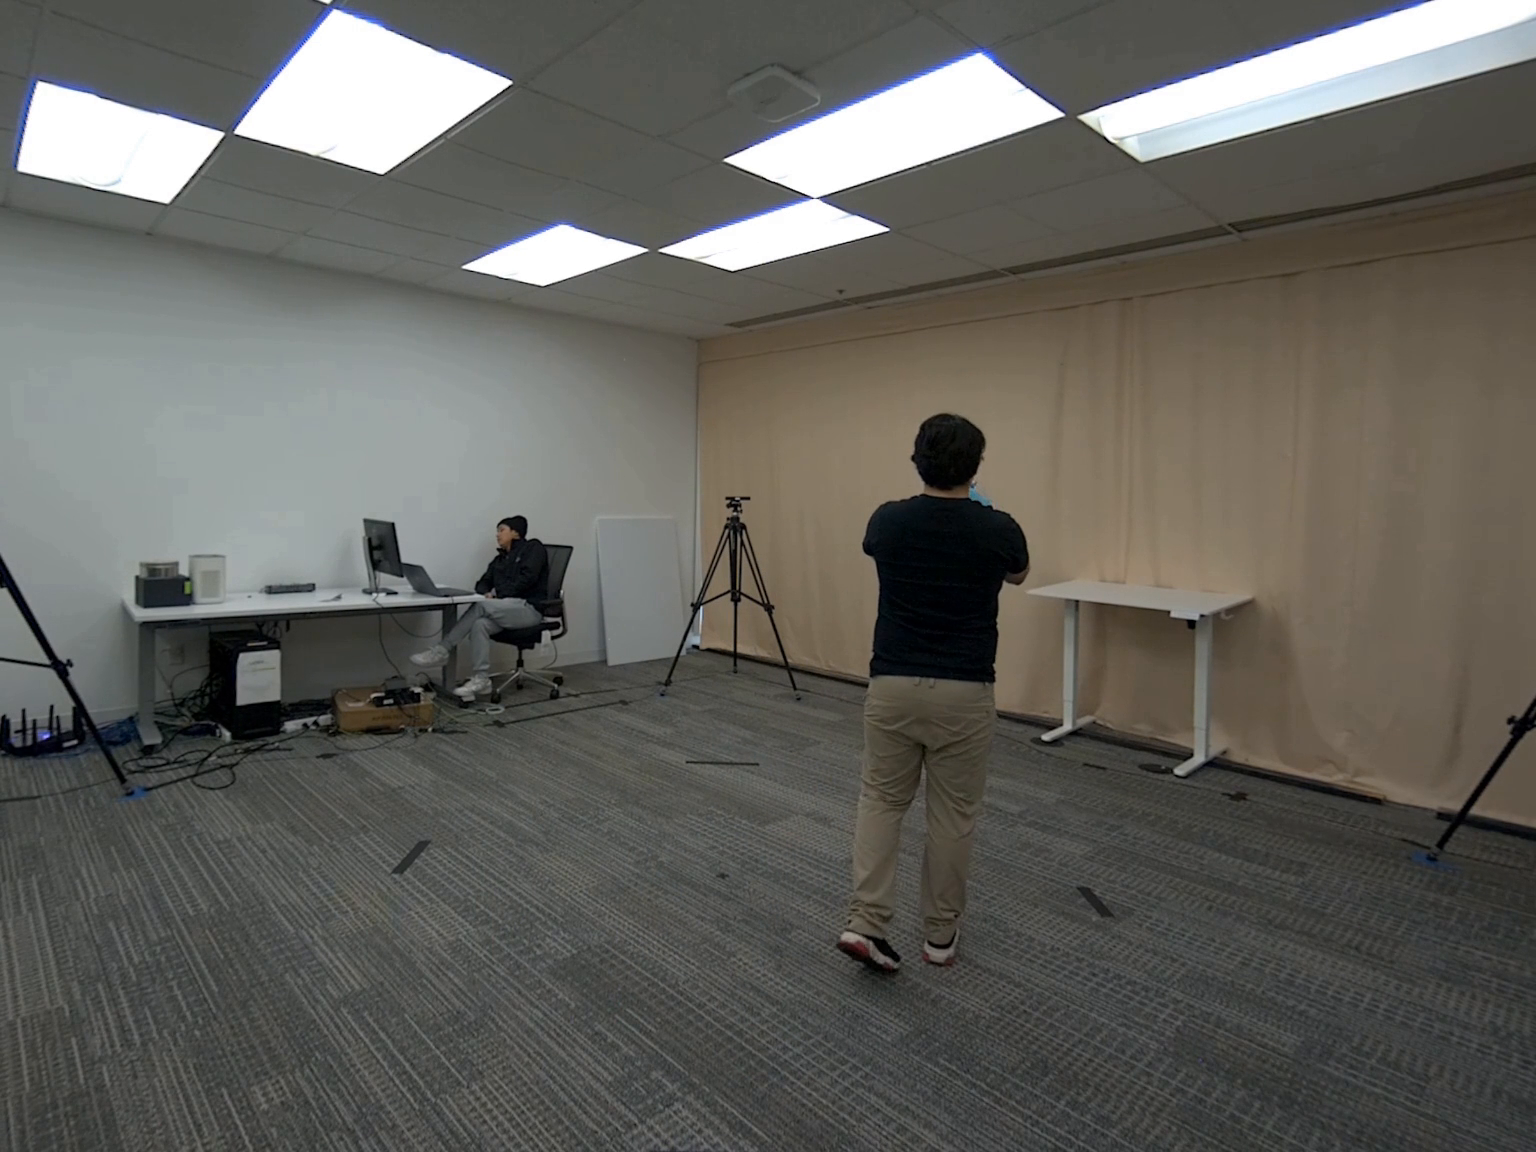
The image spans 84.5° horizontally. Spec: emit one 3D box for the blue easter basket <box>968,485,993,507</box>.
[{"bbox_3d":[0.681,-0.225,3.028,0.250,0.245,0.151,7,-26,50],"label":"blue easter basket"}]
